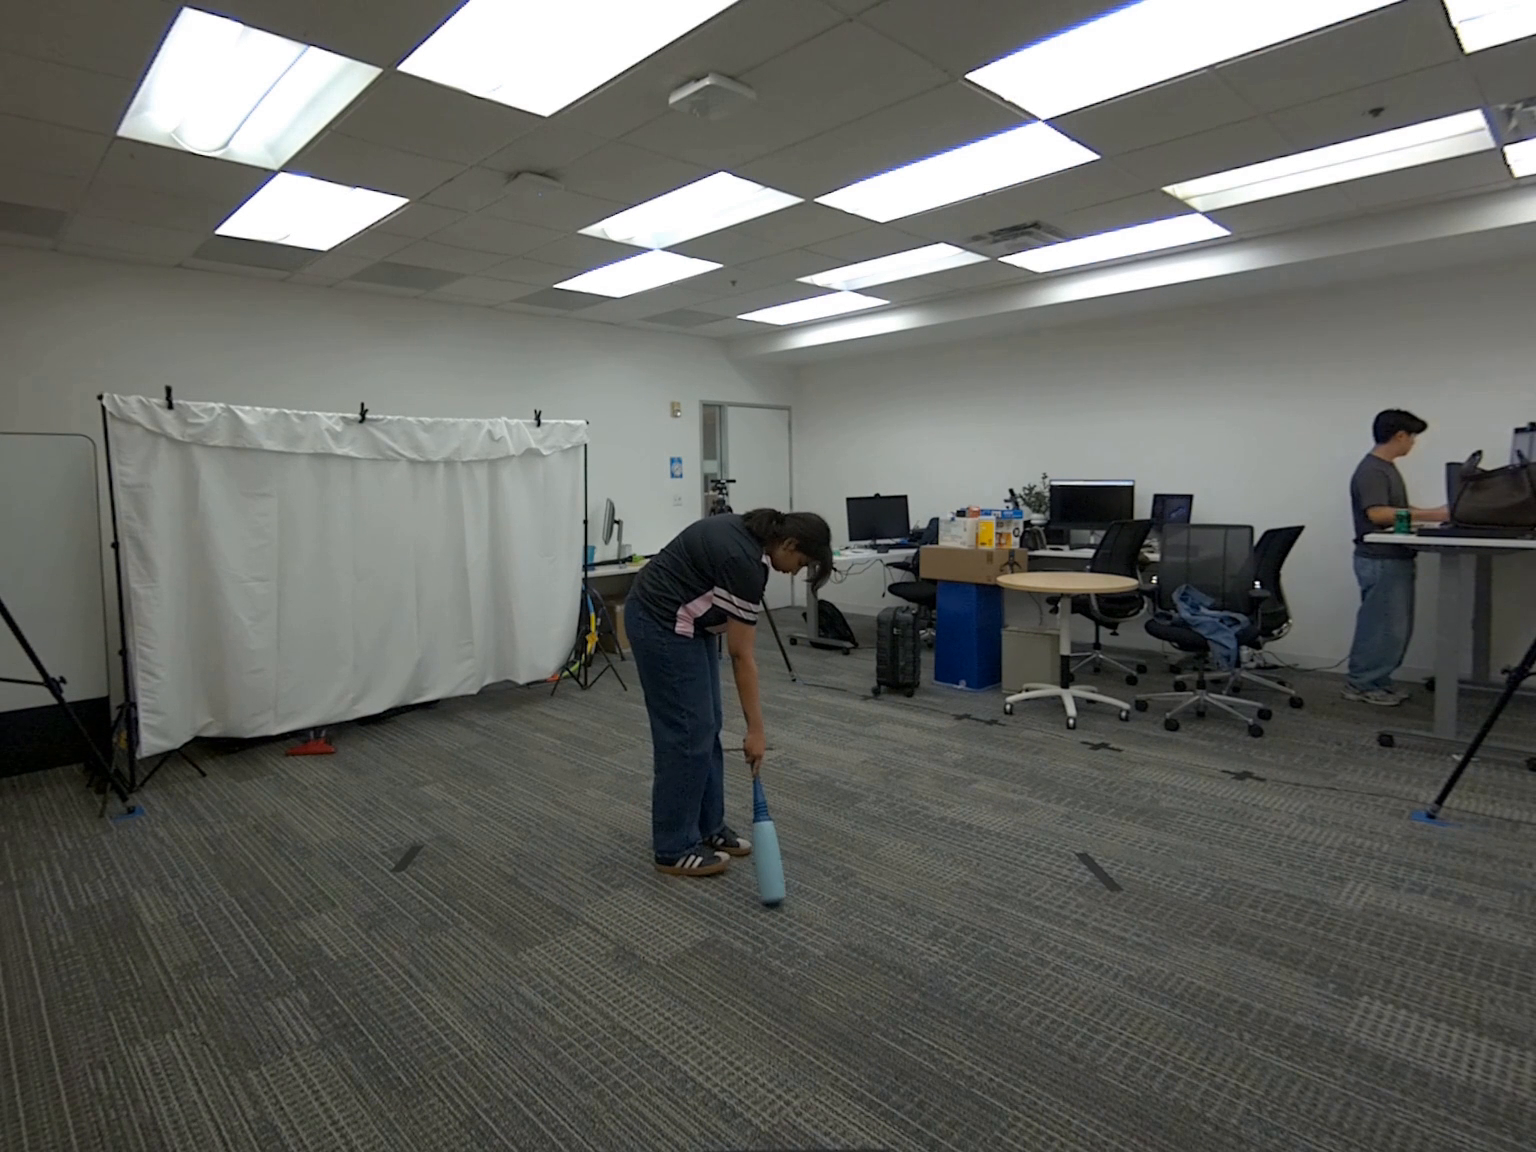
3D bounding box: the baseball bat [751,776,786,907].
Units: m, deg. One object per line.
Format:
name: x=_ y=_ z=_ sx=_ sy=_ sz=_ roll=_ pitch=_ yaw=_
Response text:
baseball bat: x=-0.013 y=0.827 z=2.914 sx=0.089 sy=0.557 sz=0.087 roll=-8 pitch=-26 yaw=-5
